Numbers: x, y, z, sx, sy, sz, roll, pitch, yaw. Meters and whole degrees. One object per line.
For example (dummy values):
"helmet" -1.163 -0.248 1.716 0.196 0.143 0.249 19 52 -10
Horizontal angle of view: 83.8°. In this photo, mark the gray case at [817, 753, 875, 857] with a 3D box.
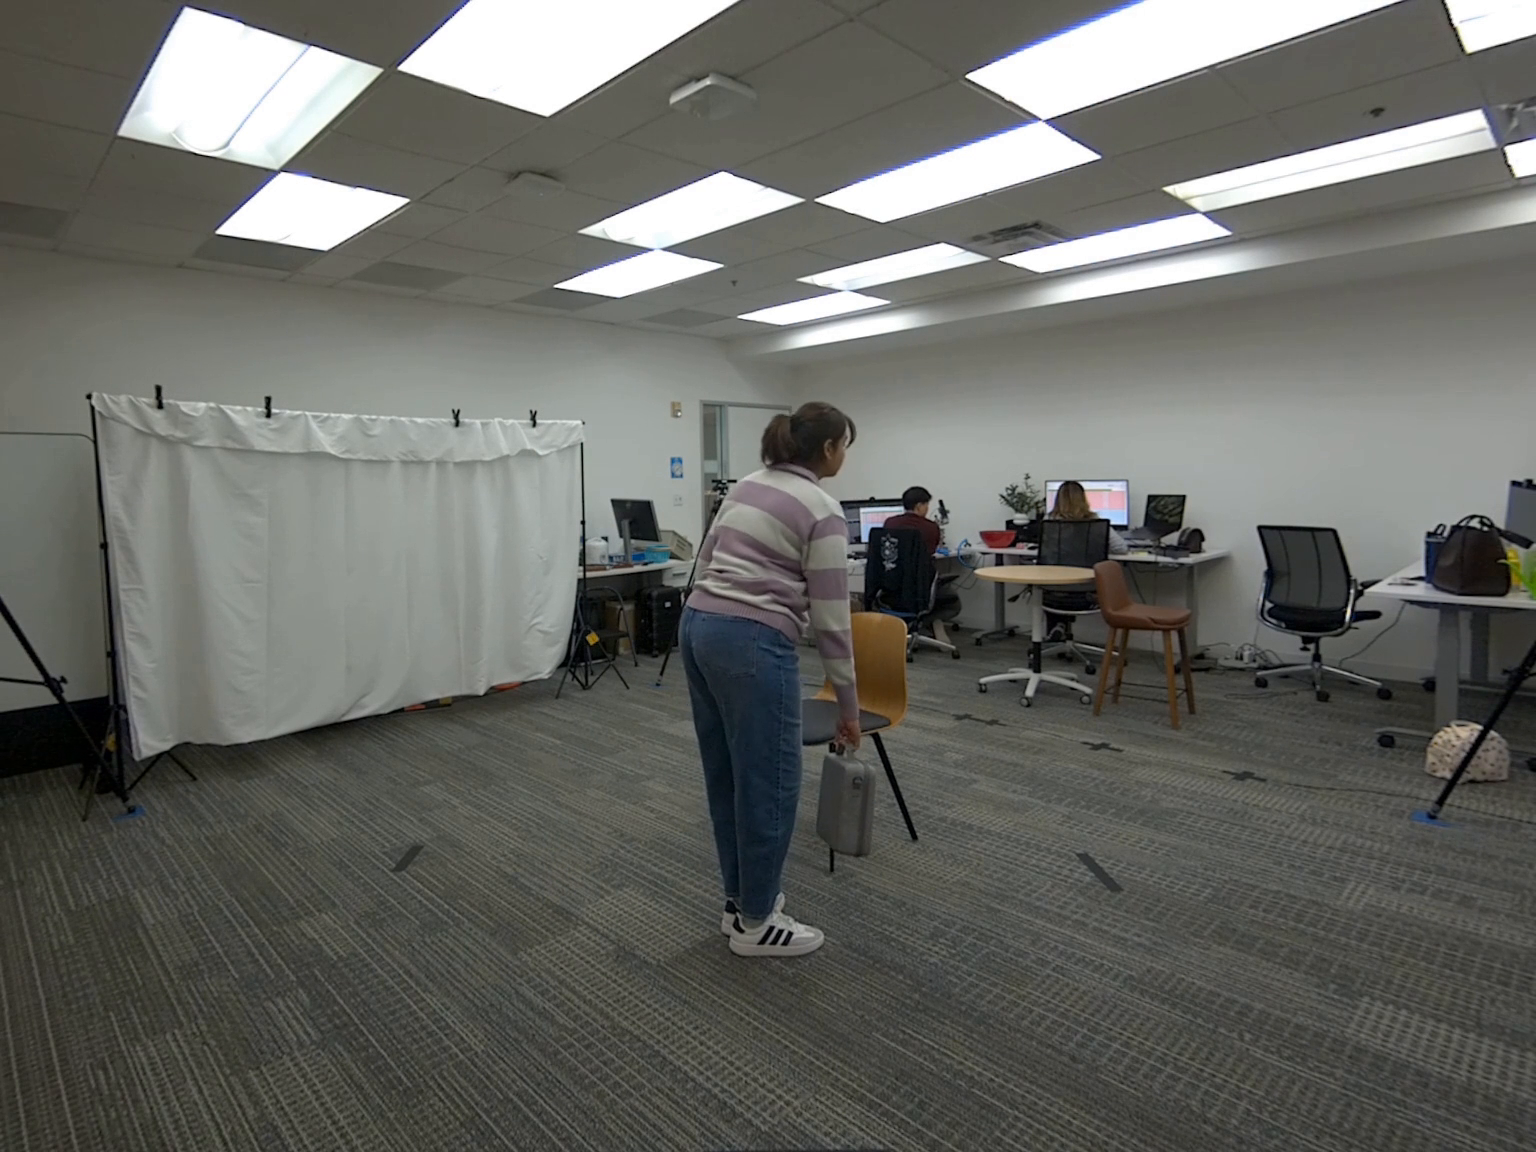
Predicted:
"gray case" 0.229 0.655 2.480 0.103 0.262 0.257 7 -6 -9
